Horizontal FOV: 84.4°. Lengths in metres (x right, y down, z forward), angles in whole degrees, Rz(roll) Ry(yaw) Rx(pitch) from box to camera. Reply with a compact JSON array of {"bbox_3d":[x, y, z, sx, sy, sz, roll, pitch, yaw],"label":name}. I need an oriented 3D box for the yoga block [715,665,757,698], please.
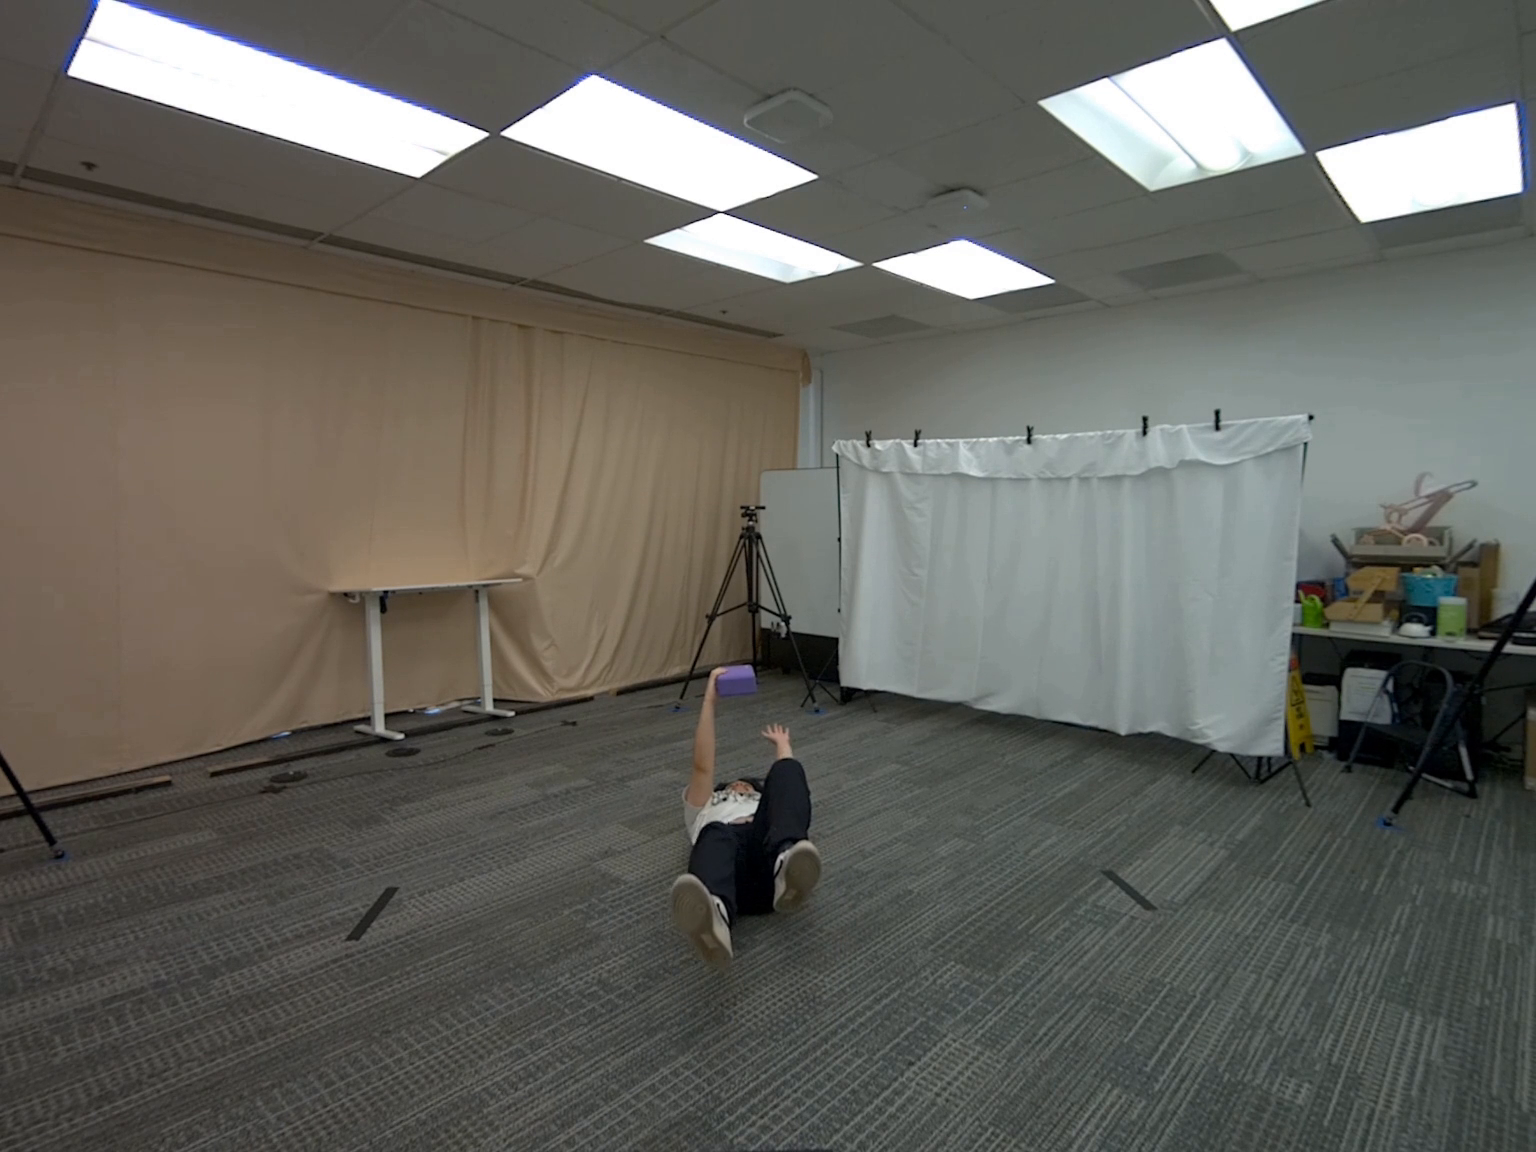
[{"bbox_3d":[-0.129,0.419,3.379,0.149,0.076,0.230,-6,5,0],"label":"yoga block"}]
